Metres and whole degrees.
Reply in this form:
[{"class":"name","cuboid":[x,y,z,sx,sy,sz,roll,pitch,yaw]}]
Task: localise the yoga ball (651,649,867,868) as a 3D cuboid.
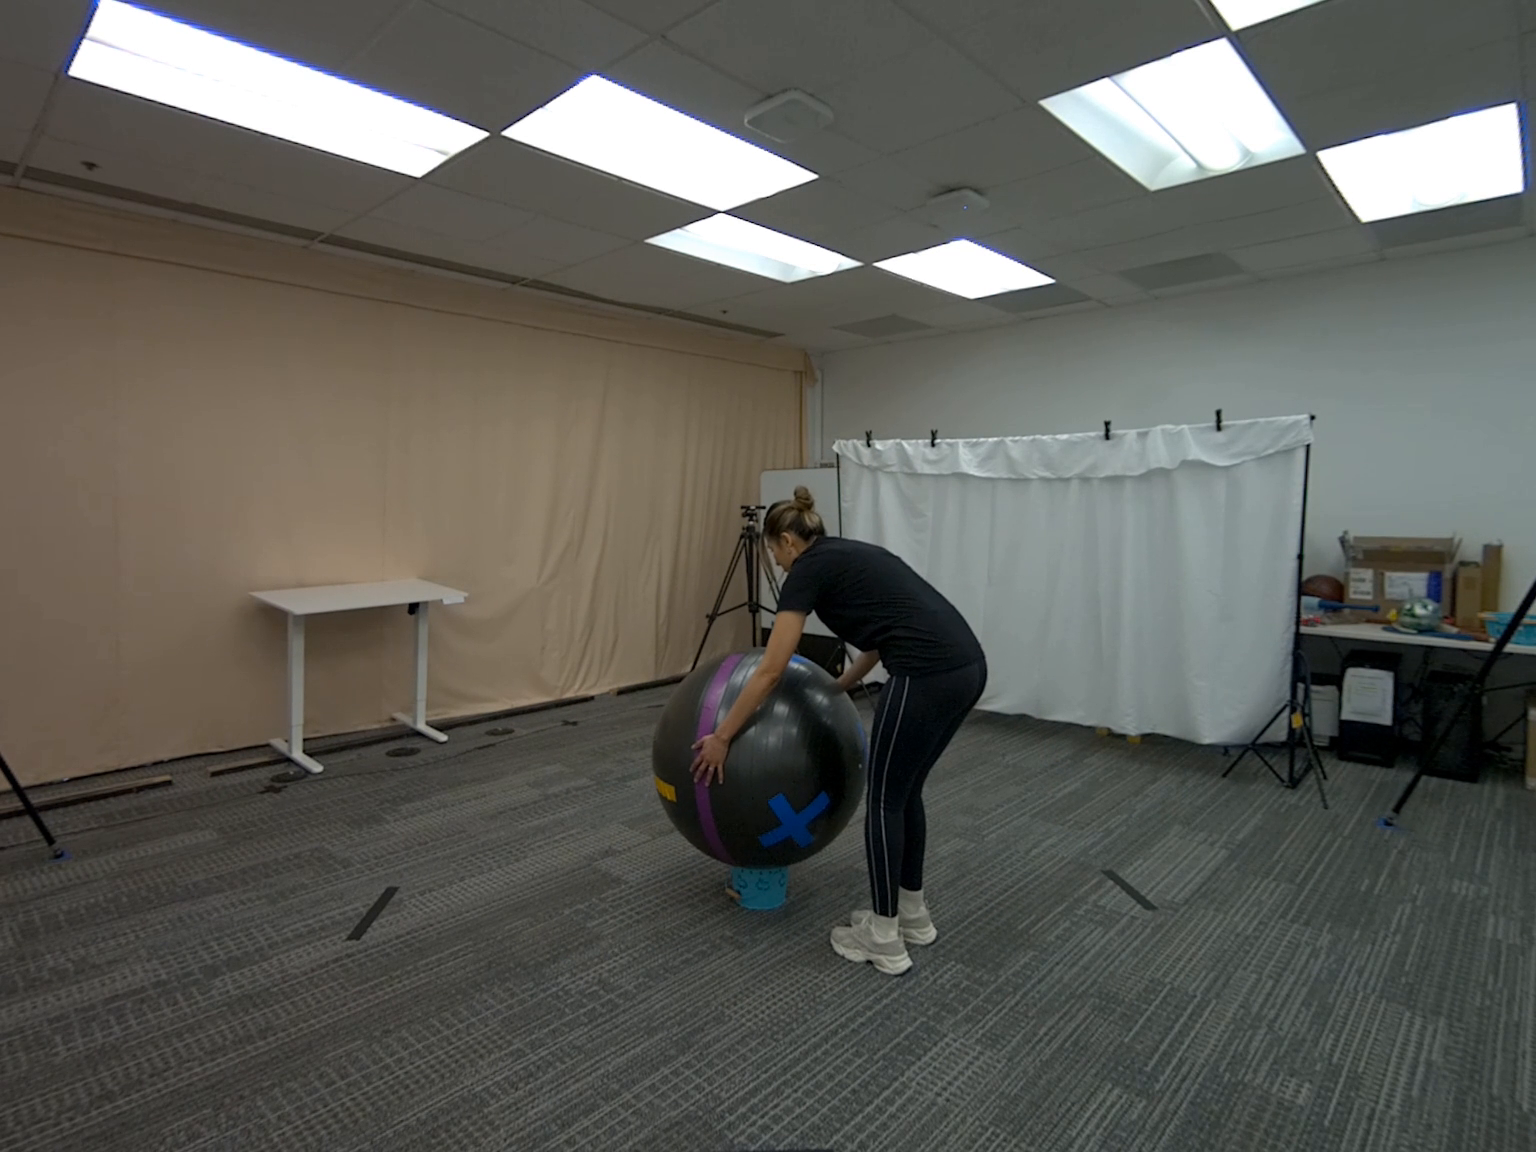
[{"class":"yoga ball","cuboid":[-0.031,0.635,2.973,0.757,0.756,0.760,0,4,-2]}]
